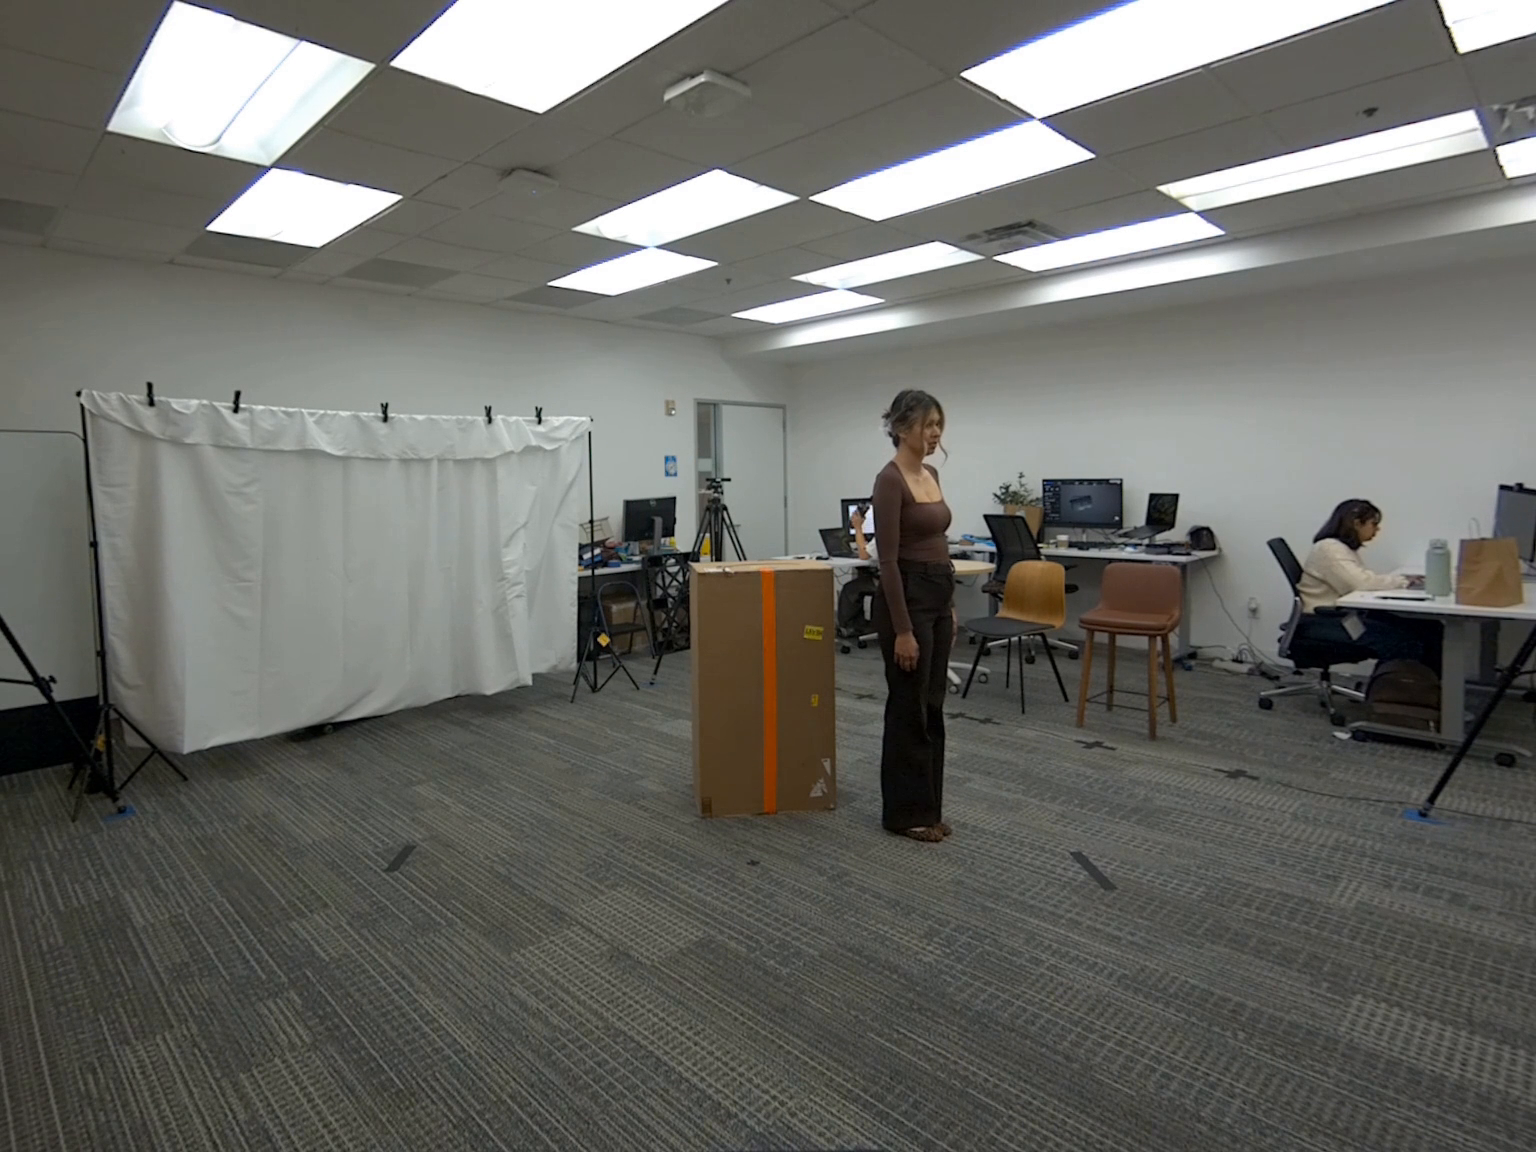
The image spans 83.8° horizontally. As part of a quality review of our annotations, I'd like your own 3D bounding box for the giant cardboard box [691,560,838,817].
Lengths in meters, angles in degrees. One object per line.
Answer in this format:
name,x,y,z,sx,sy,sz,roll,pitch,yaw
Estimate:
giant cardboard box,-0.033,0.461,3.743,0.579,1.024,0.452,-2,3,-9
